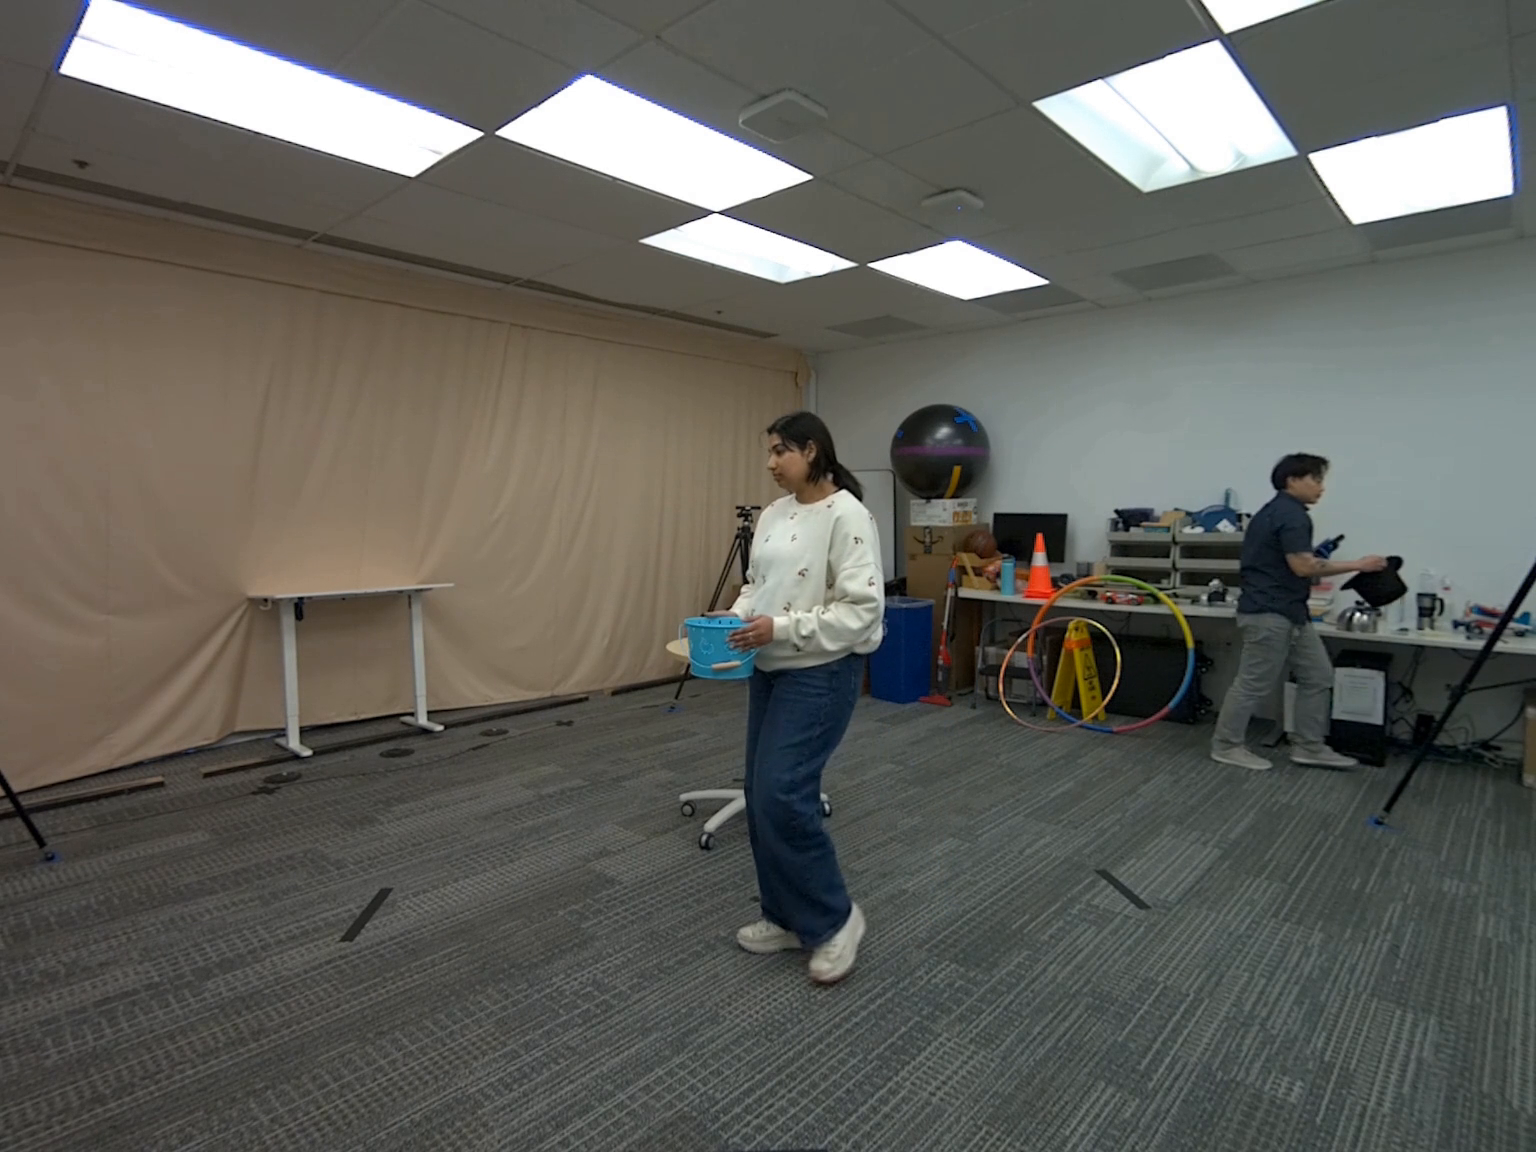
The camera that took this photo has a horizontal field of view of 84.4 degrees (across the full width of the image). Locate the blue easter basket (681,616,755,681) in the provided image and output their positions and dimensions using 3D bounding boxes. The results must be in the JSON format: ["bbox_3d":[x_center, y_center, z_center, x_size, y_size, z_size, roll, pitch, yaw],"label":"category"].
[{"bbox_3d":[-0.131,0.215,2.454,0.243,0.156,0.244,2,2,-2],"label":"blue easter basket"}]
